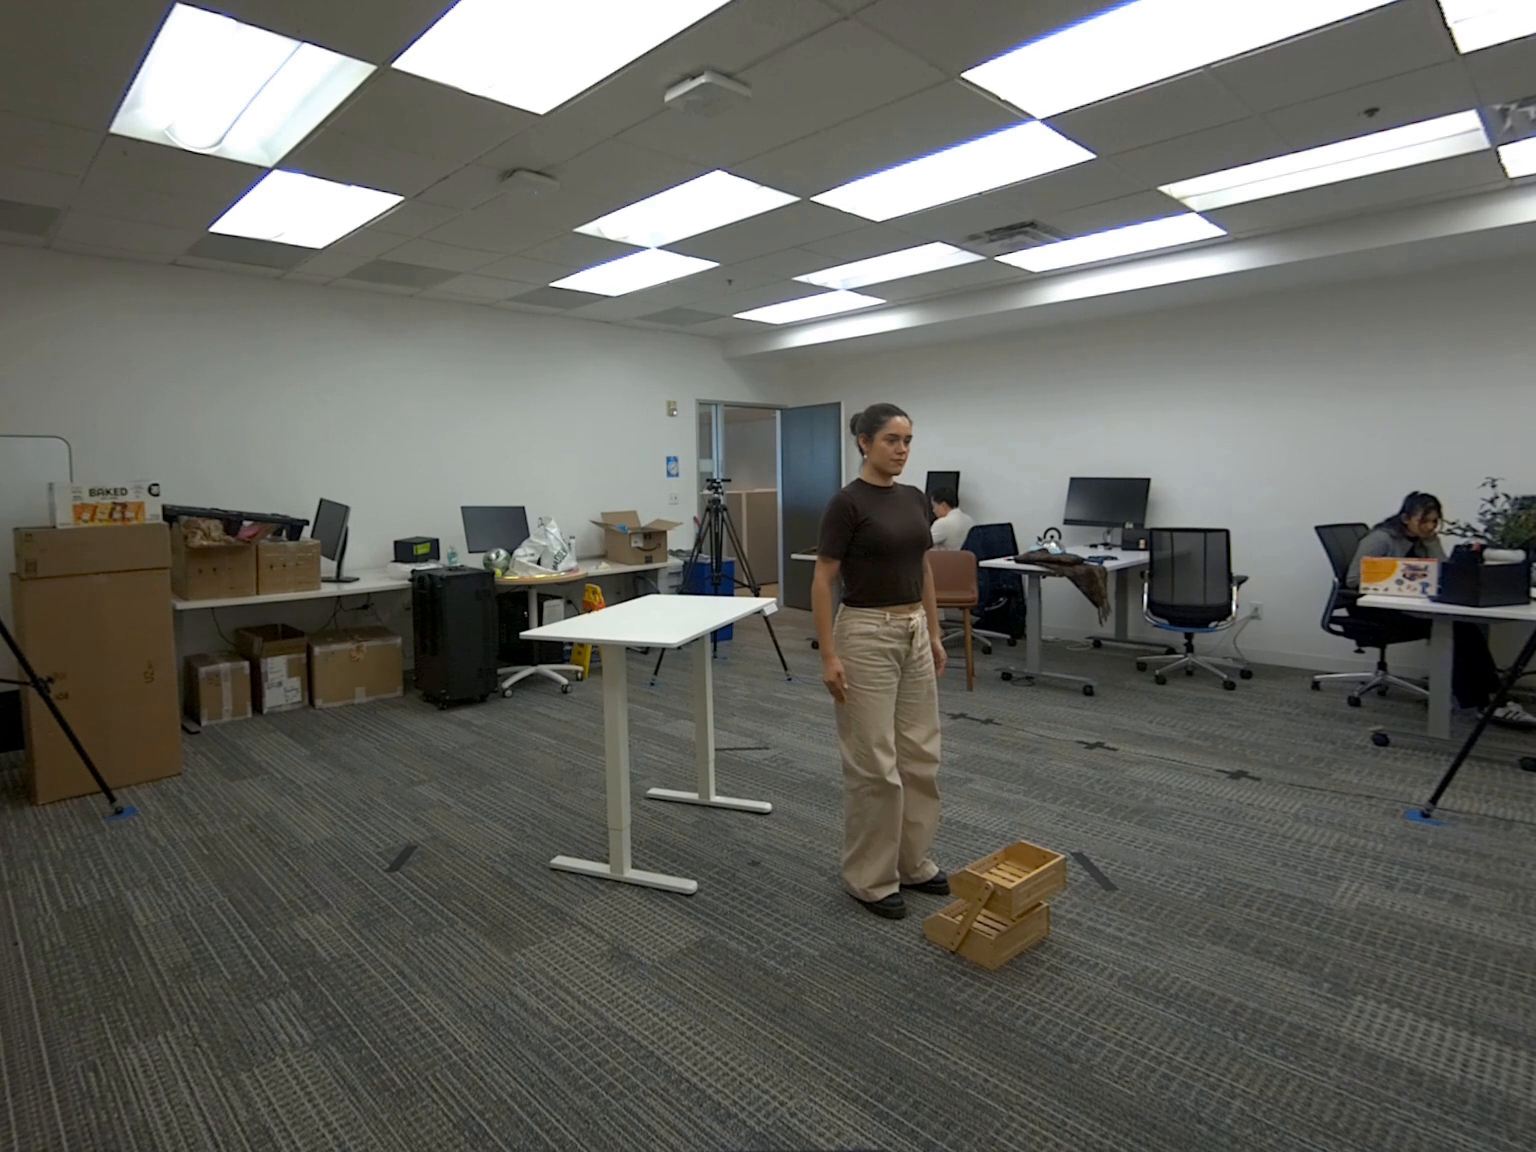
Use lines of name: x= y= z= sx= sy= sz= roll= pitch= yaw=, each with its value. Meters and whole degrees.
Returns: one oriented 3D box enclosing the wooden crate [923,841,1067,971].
wooden crate: x=0.682 y=0.958 z=2.564 sx=0.316 sy=0.272 sz=0.311 roll=-5 pitch=7 yaw=-41
